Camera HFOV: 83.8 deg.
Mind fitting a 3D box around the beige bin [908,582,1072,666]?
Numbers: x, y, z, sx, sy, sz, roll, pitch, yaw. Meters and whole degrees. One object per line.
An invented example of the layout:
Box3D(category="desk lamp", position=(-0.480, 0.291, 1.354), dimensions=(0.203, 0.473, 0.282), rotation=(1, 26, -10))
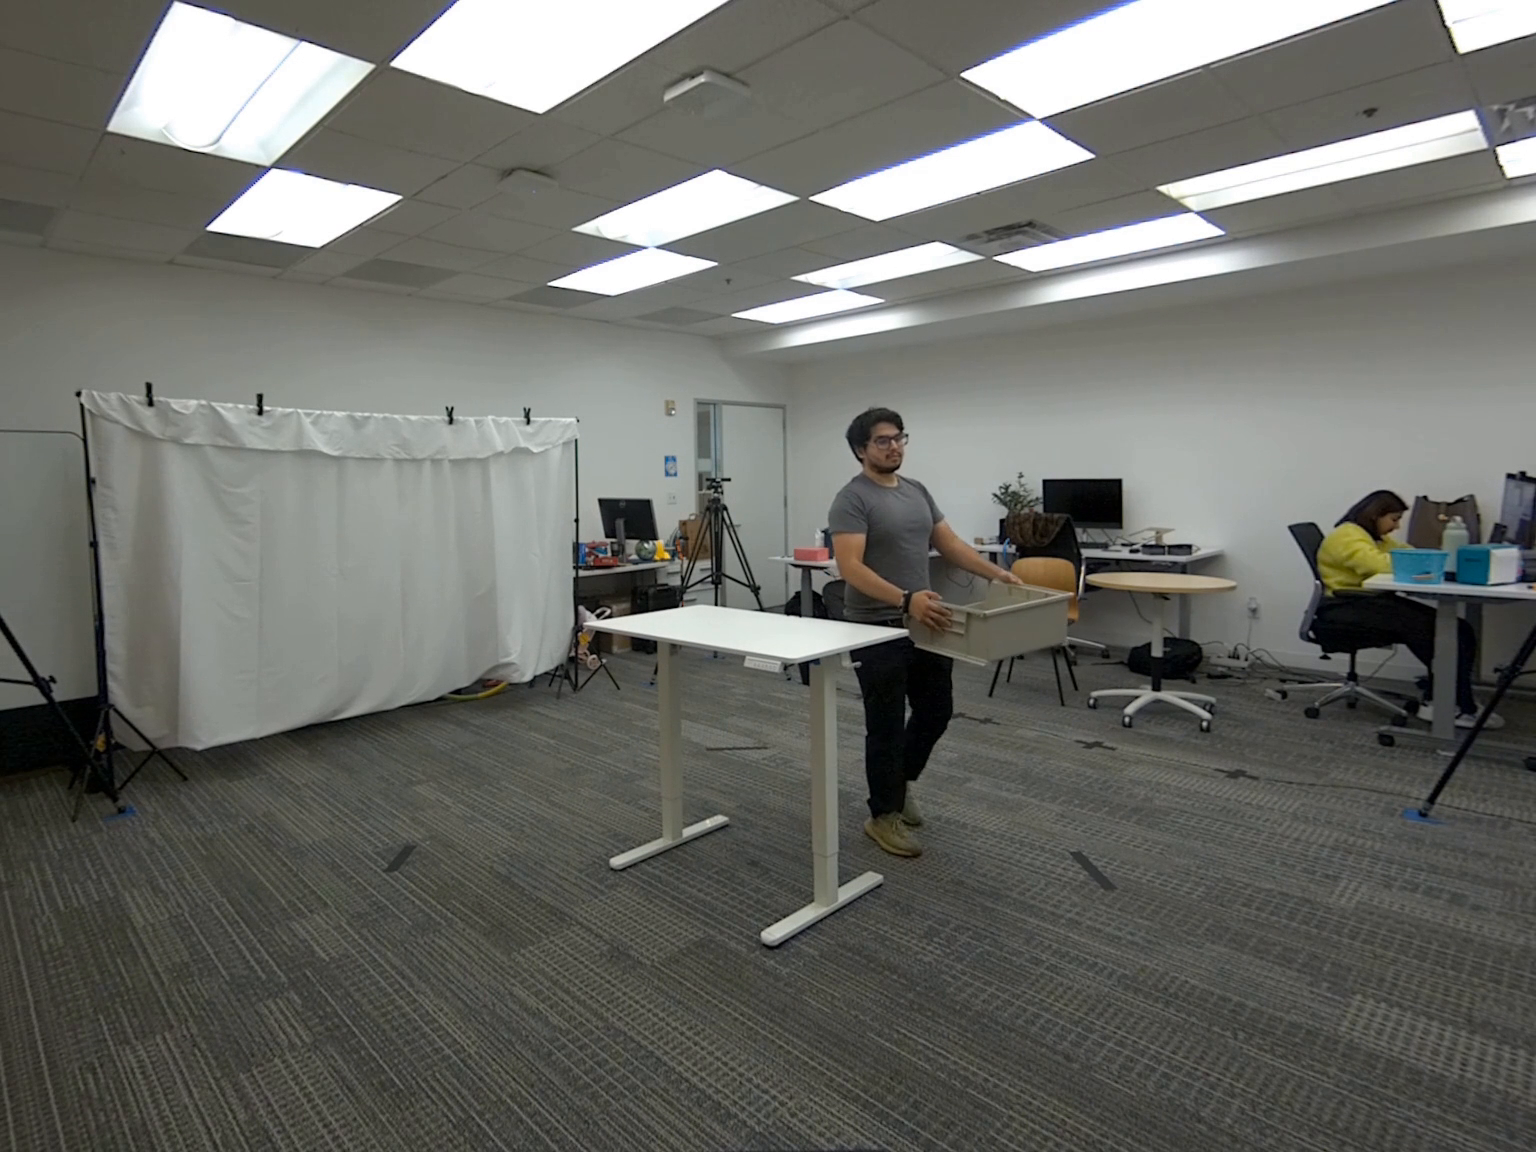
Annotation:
Box3D(category="beige bin", position=(0.738, 0.147, 2.938), dimensions=(0.413, 0.187, 0.389), rotation=(-7, 13, -31))
